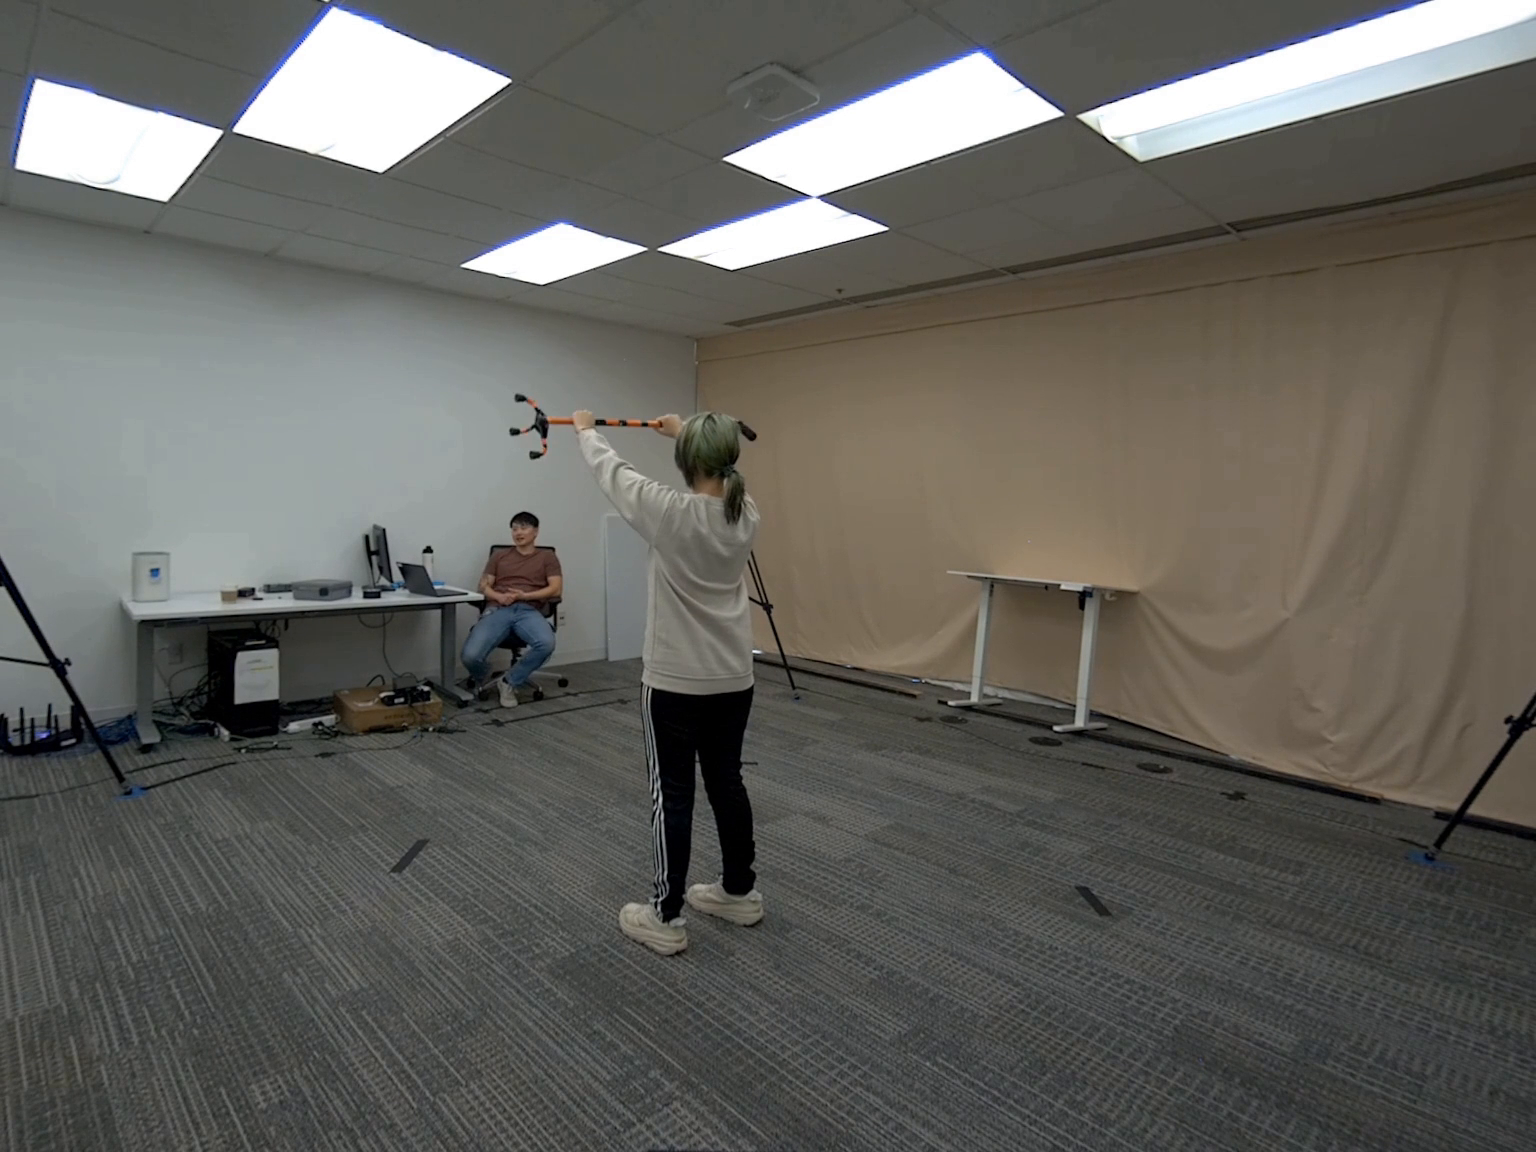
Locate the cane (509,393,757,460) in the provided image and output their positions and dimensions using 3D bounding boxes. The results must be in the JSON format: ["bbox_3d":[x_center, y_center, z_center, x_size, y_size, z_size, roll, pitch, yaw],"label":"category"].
[{"bbox_3d":[-0.451,-0.527,3.023,0.889,0.150,0.213,-6,36,-37],"label":"cane"}]
